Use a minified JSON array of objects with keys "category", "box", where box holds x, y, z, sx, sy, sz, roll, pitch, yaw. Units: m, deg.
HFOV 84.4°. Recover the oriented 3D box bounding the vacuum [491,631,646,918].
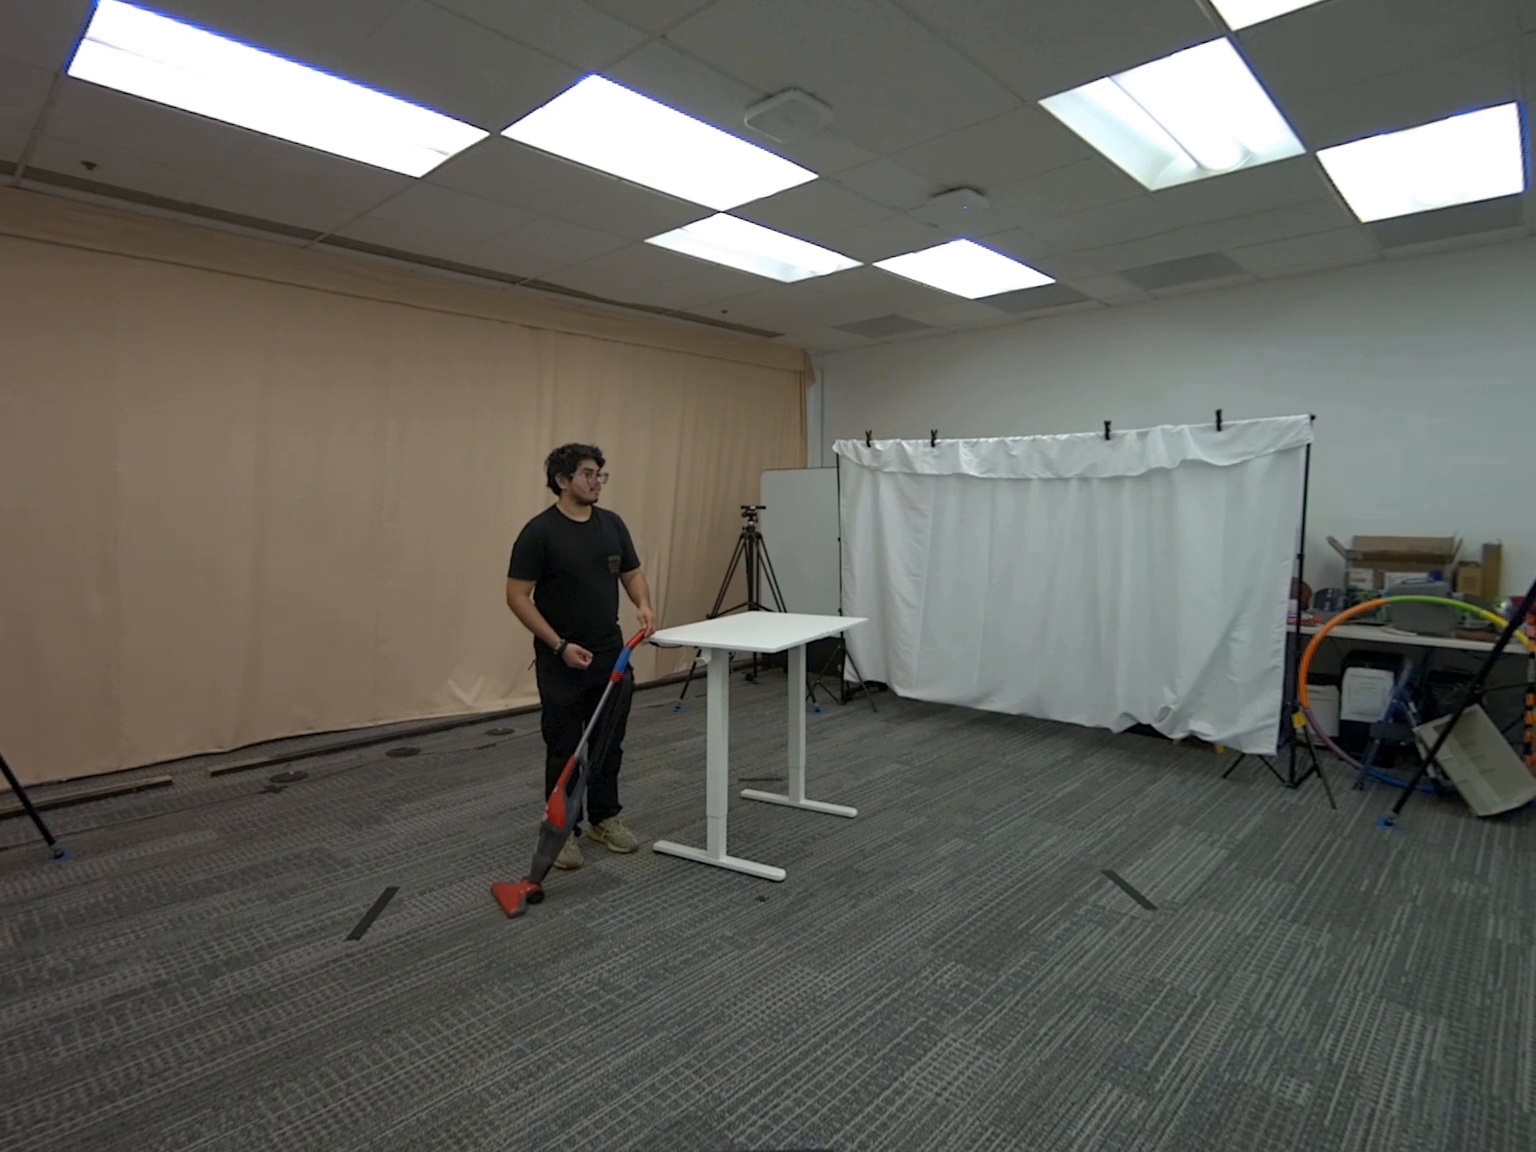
[{"category":"vacuum","box":[-0.677,0.674,3.097,0.261,1.051,0.139,10,-20,48]}]
